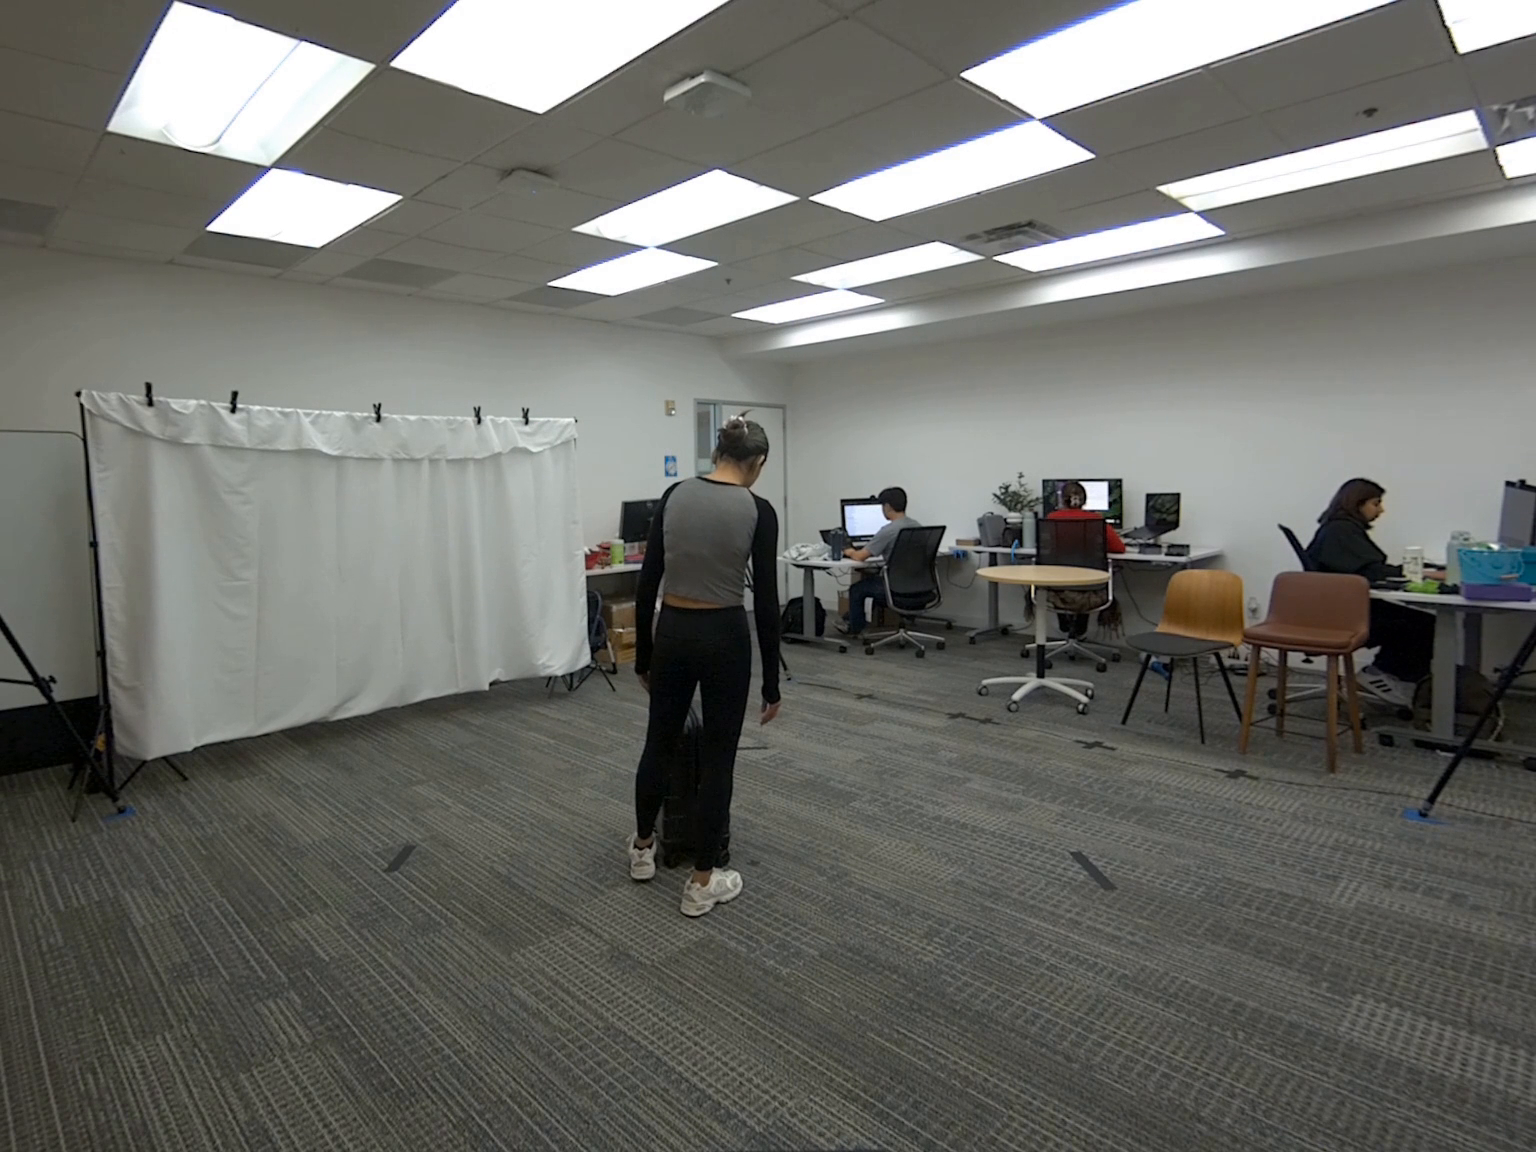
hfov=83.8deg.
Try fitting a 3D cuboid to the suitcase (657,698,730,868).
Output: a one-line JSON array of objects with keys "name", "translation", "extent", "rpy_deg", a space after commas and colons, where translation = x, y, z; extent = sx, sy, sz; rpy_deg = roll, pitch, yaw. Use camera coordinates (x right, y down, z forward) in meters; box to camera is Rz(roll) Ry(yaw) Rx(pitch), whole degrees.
[{"name": "suitcase", "translation": [-0.288, 0.756, 3.228], "extent": [0.245, 0.548, 0.381], "rpy_deg": [-1, 4, -12]}]
